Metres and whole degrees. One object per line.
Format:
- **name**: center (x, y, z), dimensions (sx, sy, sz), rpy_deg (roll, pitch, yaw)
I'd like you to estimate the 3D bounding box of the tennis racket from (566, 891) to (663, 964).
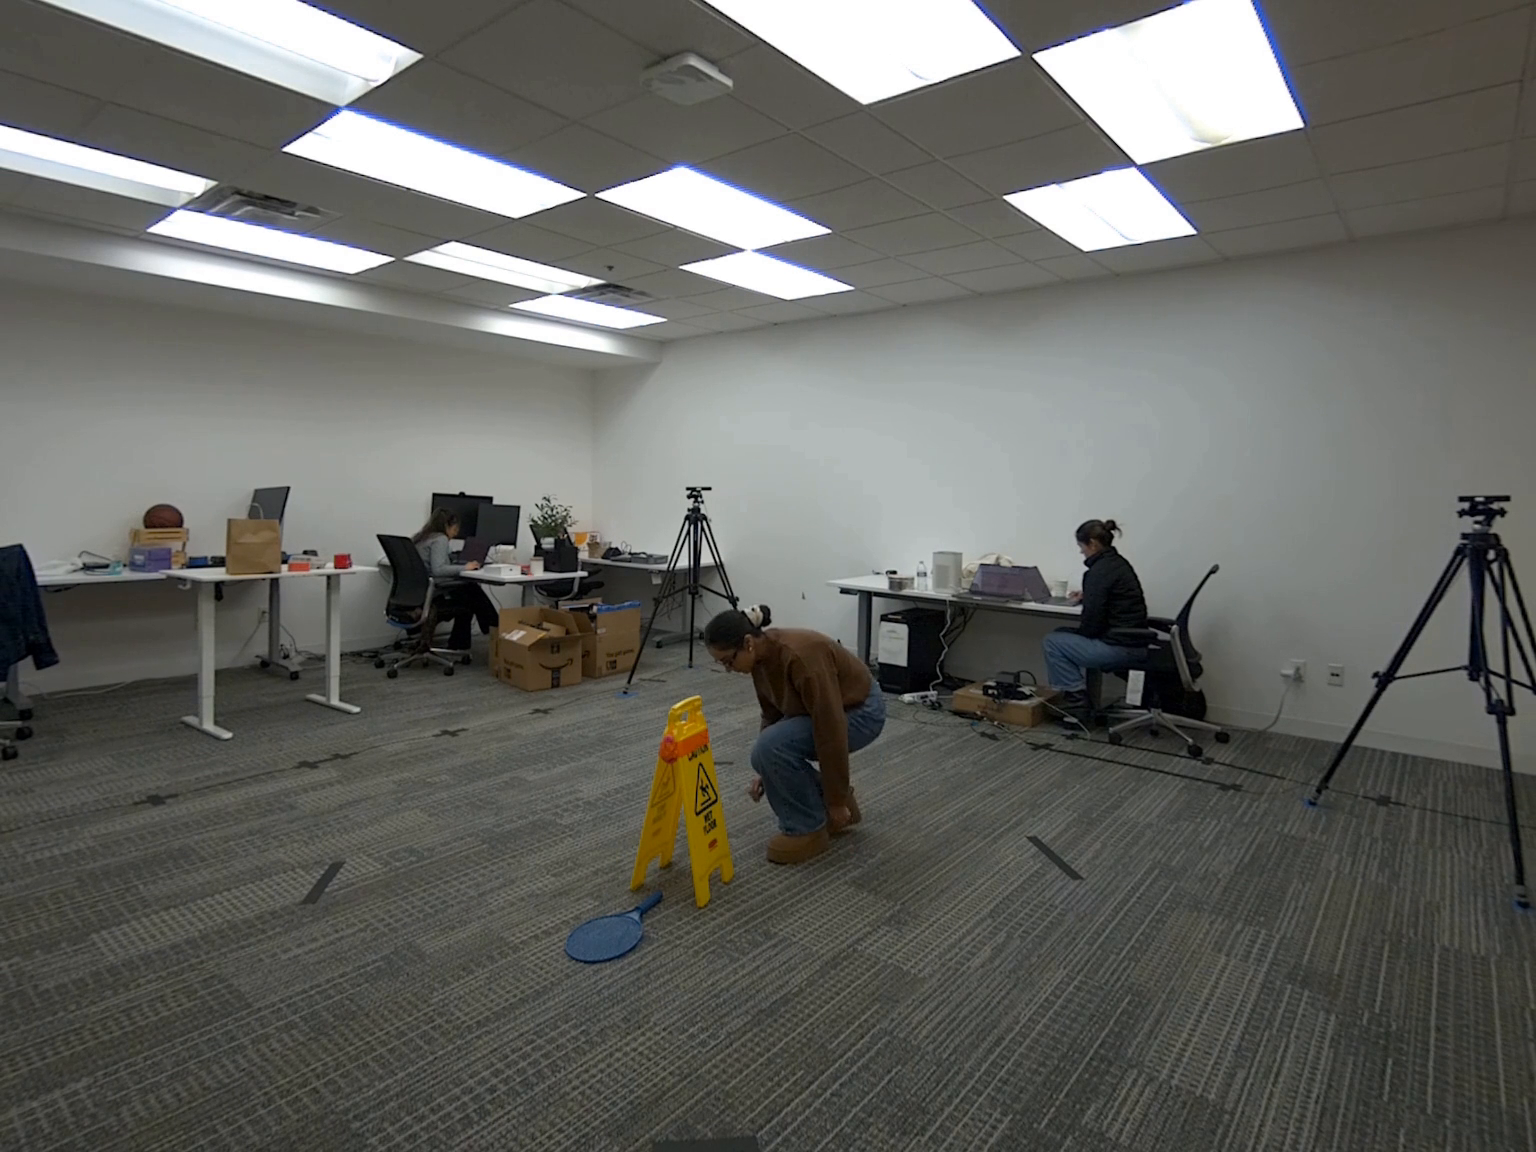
- **tennis racket**: center (-0.465, 1.090, 2.675), dimensions (0.220, 0.031, 0.423), rpy_deg (4, 8, 28)
